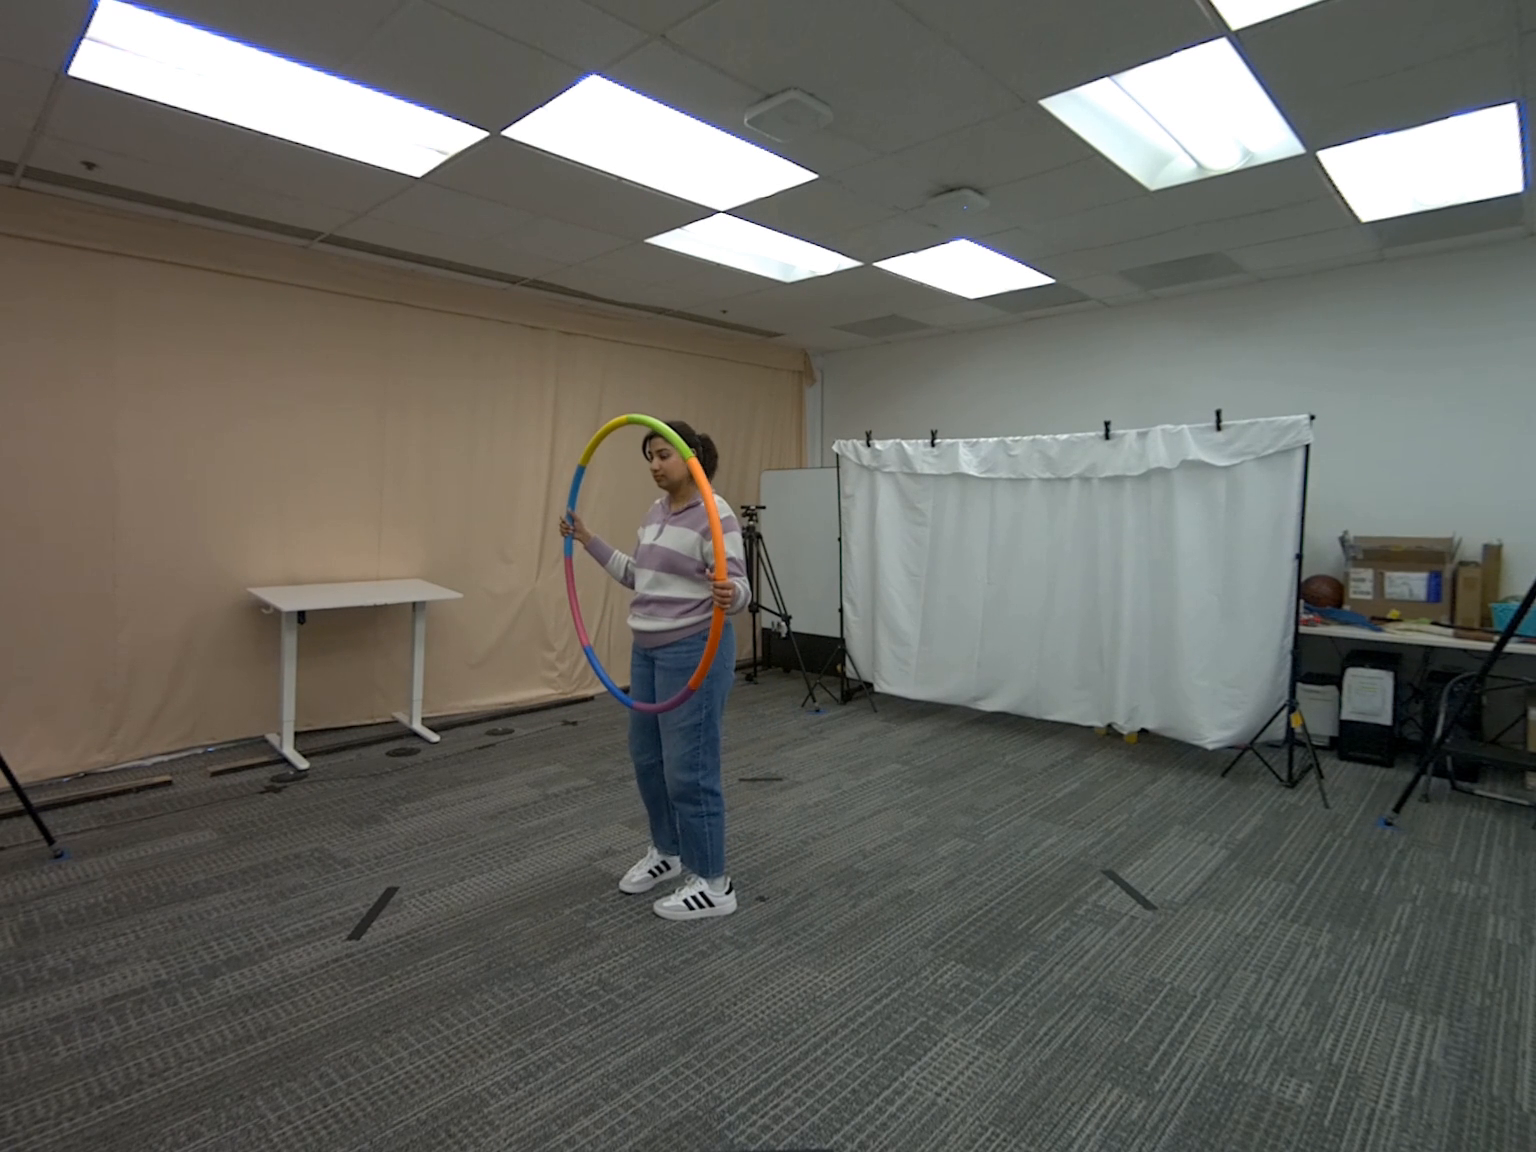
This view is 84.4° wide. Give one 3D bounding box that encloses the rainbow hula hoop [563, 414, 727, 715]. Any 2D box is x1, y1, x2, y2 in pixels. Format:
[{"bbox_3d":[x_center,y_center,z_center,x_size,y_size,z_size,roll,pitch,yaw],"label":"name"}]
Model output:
[{"bbox_3d":[-0.446,-0.040,2.793,0.034,0.976,1.011,-3,5,-39],"label":"rainbow hula hoop"}]
